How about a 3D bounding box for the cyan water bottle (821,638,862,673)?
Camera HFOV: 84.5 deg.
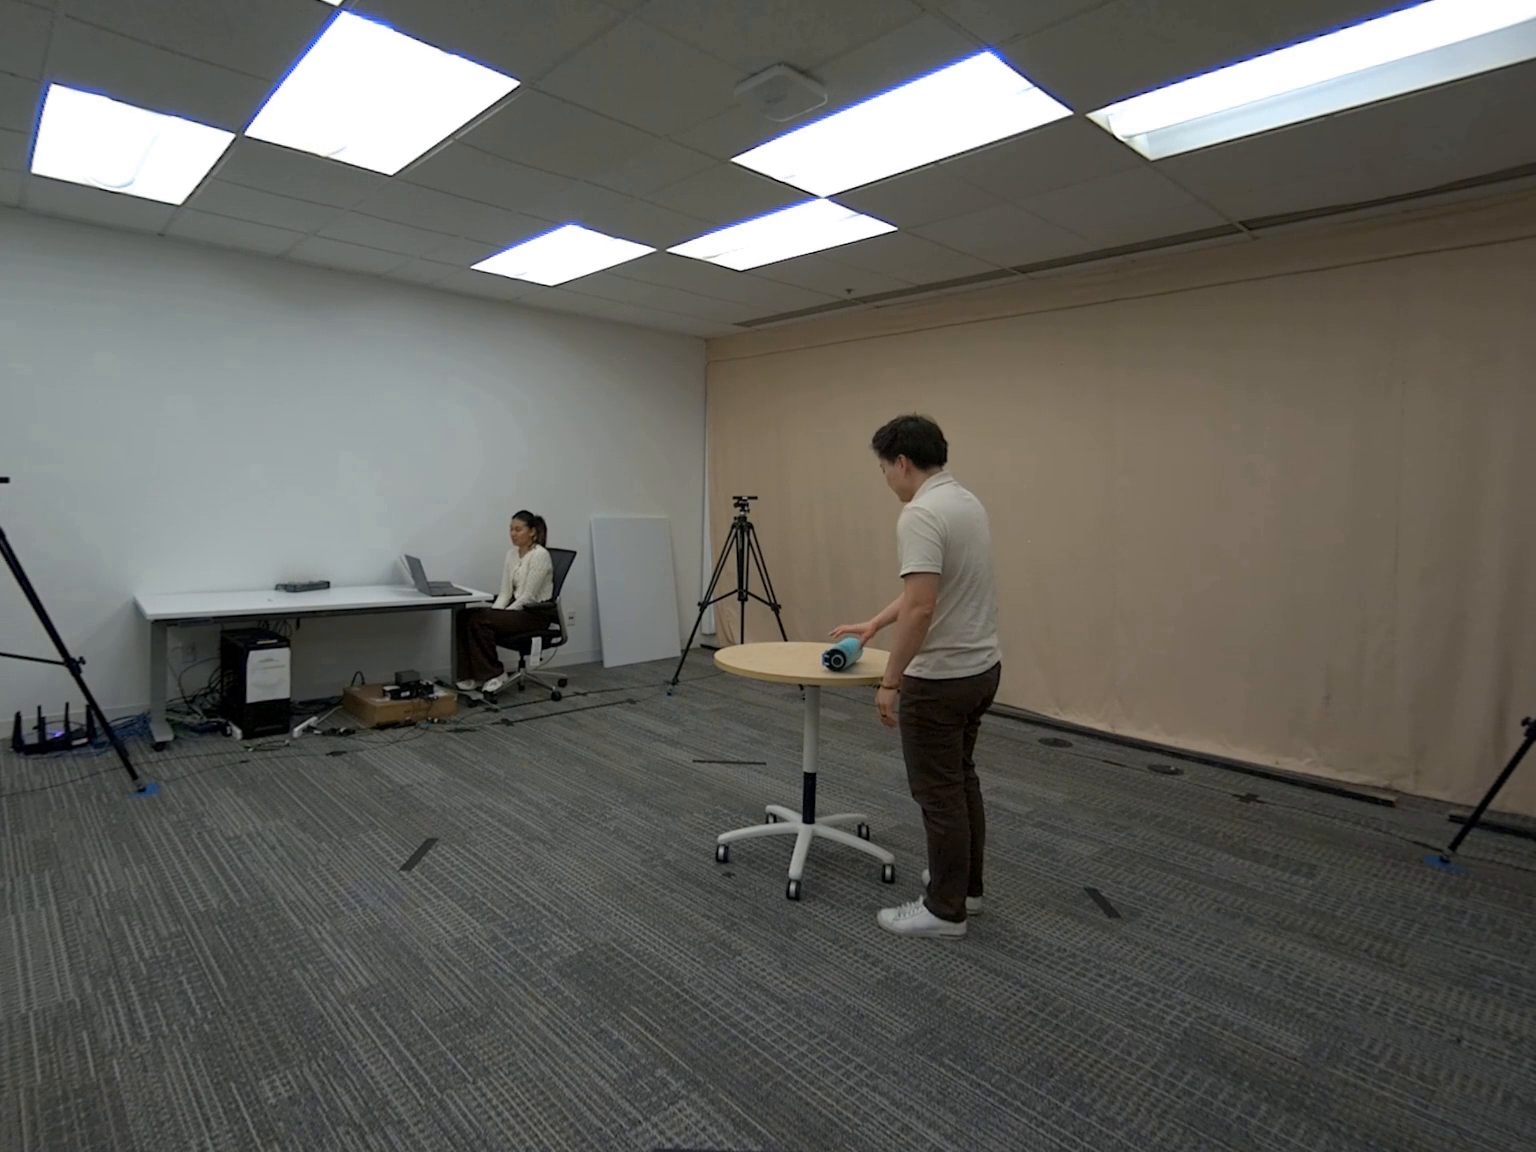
[{"bbox_3d":[0.269,0.289,3.065,0.094,0.092,0.280,3,5,19],"label":"cyan water bottle"}]
